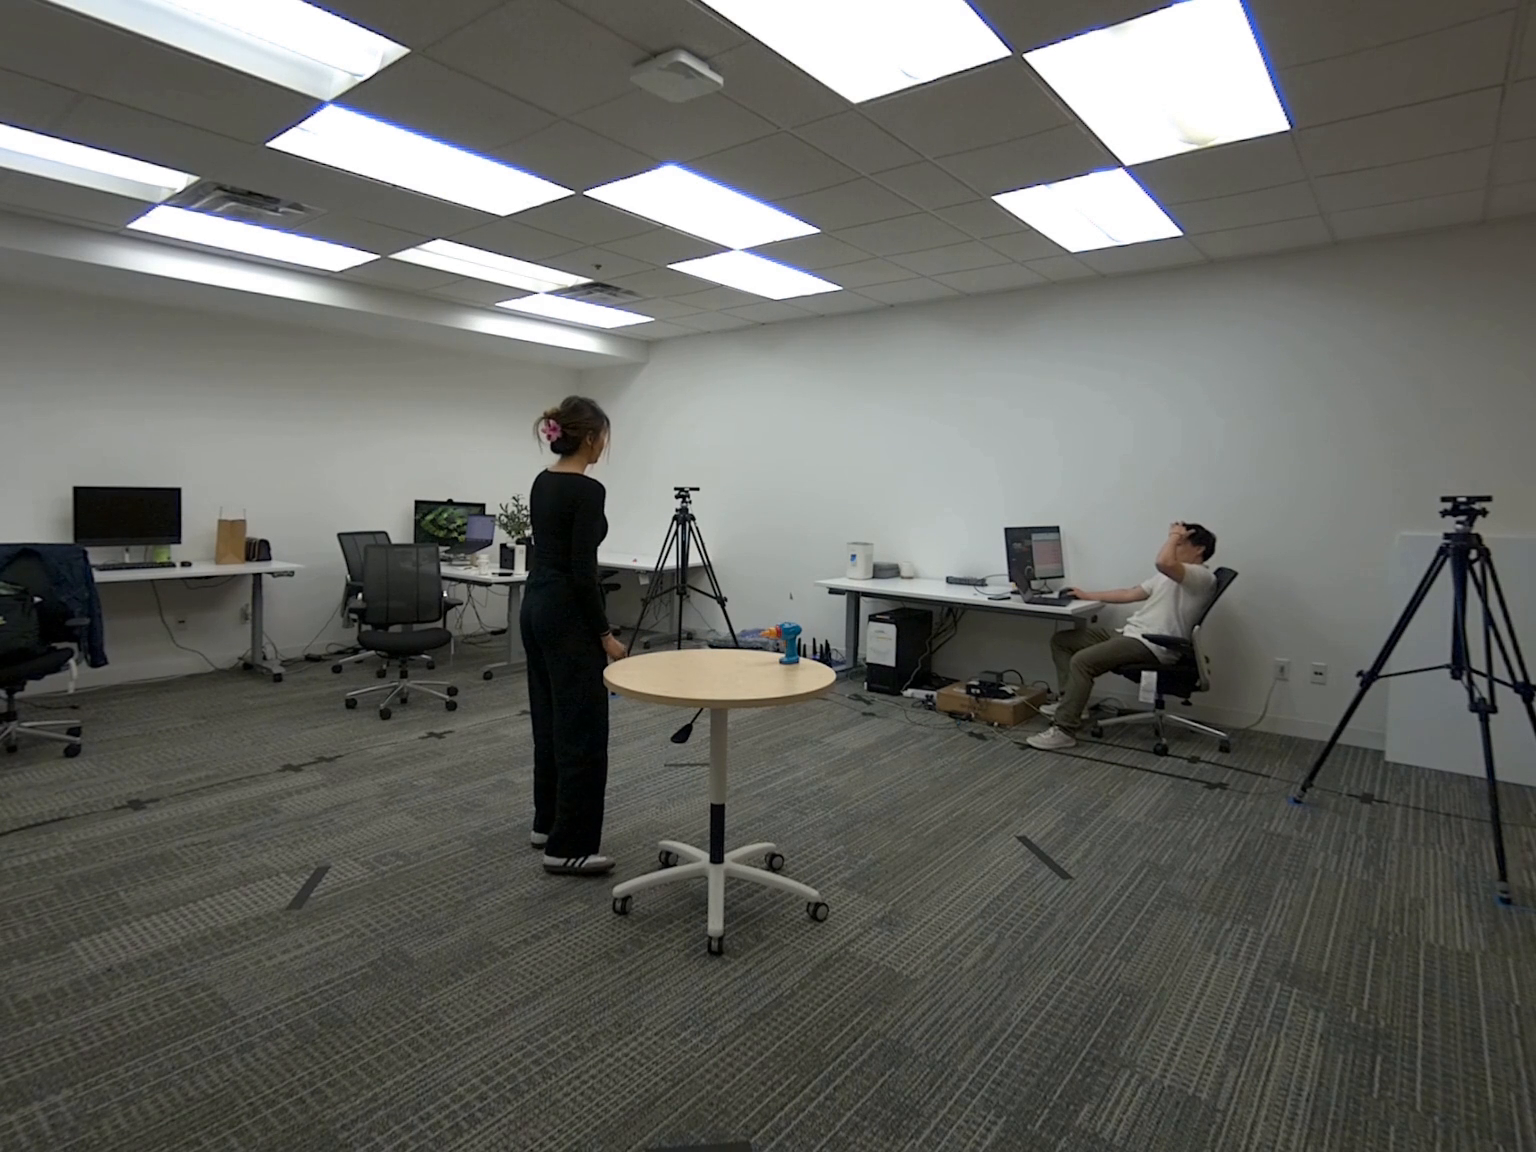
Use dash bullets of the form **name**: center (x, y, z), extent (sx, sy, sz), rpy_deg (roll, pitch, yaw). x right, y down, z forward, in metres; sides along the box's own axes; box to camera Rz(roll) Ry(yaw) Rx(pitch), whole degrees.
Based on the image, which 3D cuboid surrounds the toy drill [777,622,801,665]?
- **toy drill**: center (0.031, 0.229, 2.938), extent (0.165, 0.145, 0.063), rpy_deg (-2, 4, -32)
